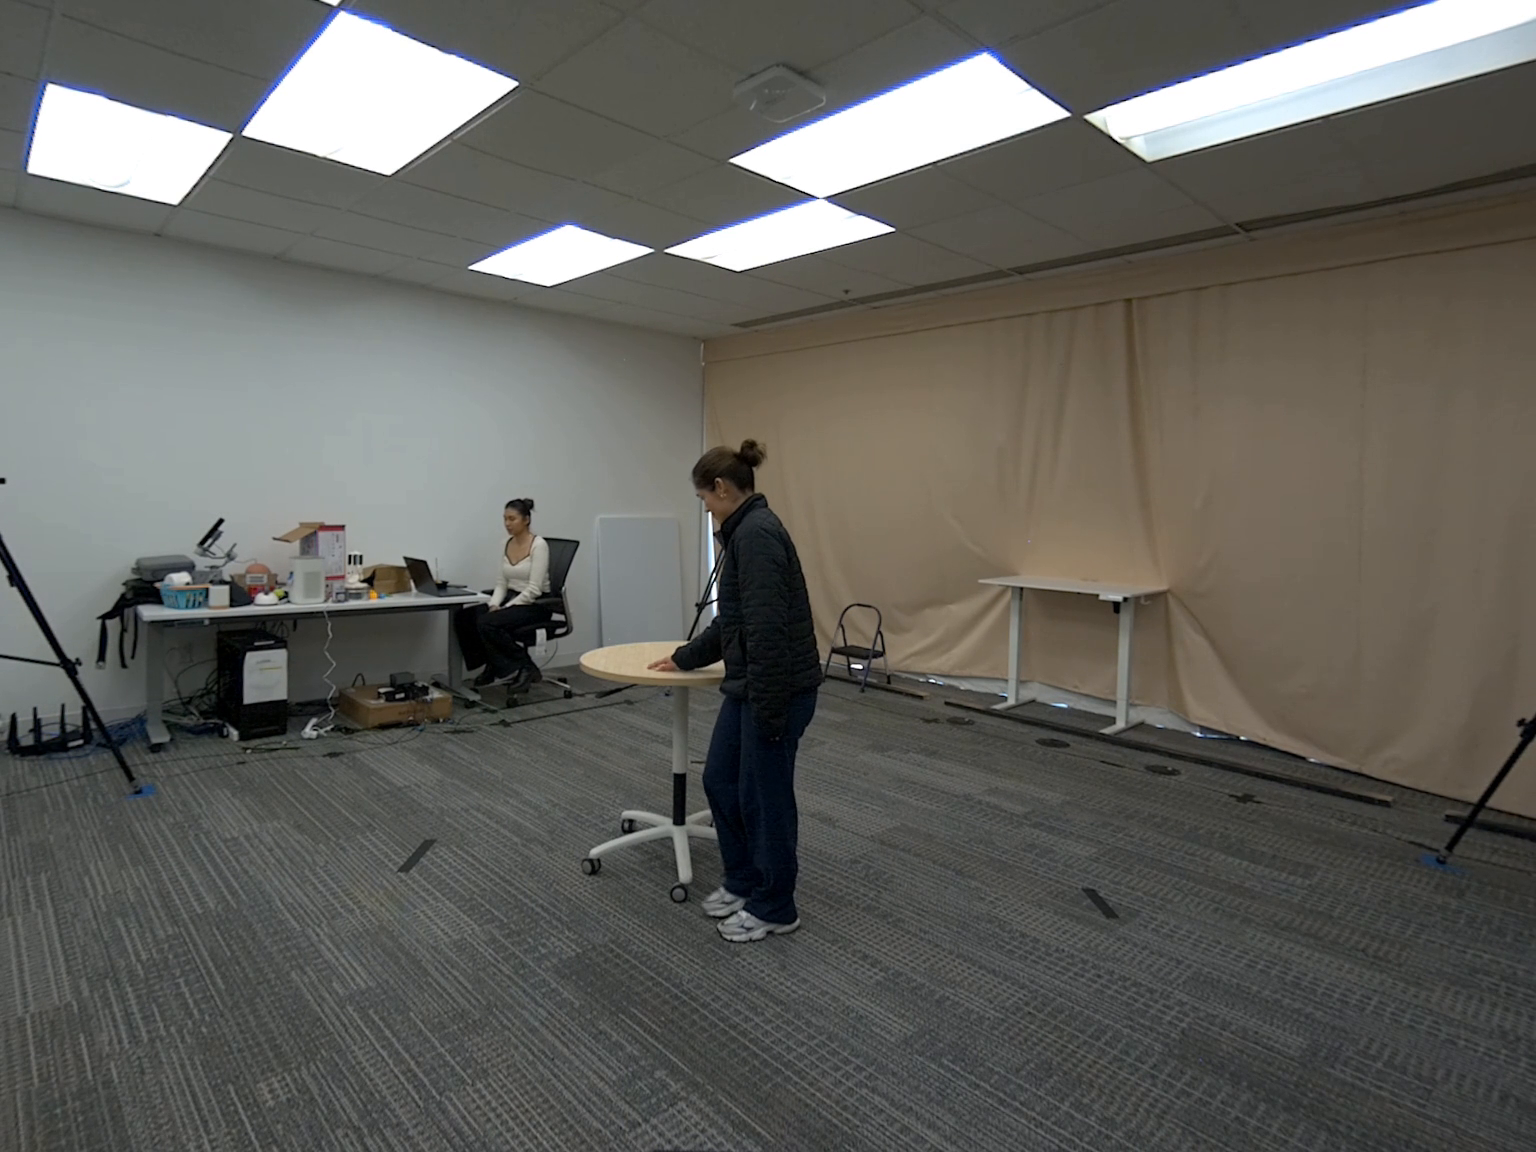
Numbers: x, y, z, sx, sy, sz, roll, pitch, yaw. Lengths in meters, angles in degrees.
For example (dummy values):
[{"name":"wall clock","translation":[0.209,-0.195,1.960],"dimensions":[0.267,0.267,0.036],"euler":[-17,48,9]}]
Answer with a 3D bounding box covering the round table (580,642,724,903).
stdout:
[{"name":"round table","translation":[-0.331,0.700,3.213],"dimensions":[0.784,0.785,0.787],"euler":[1,4,-1]}]
